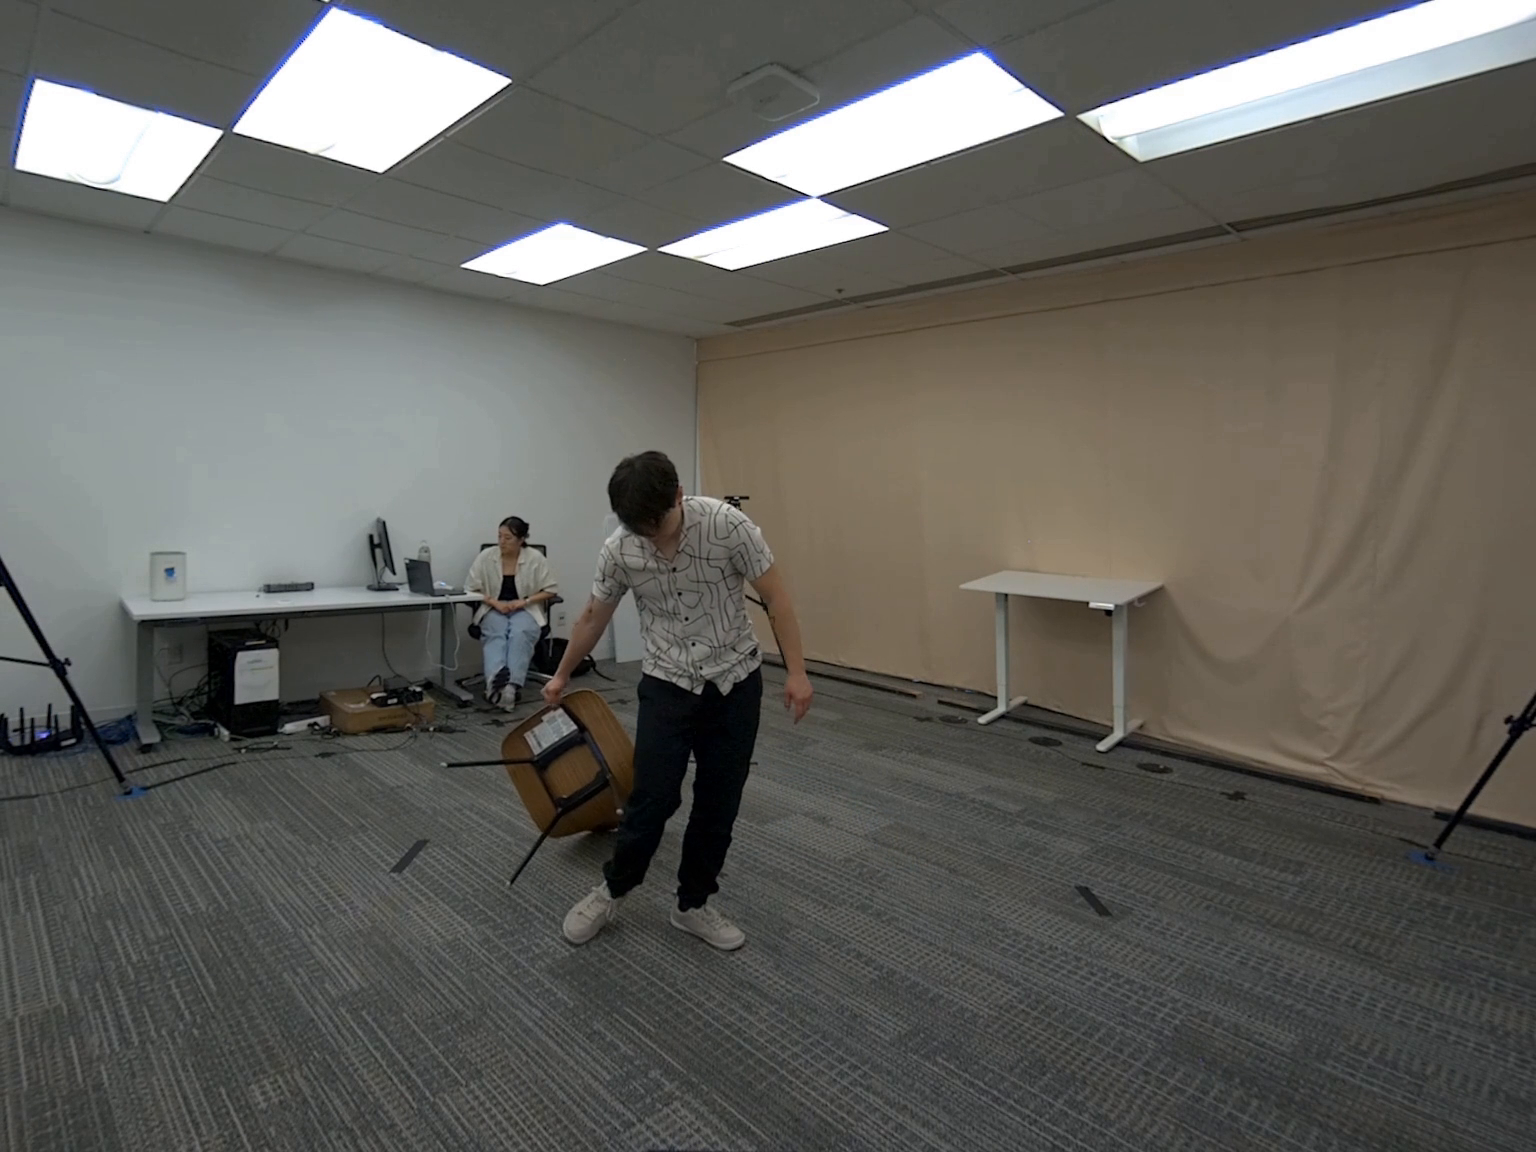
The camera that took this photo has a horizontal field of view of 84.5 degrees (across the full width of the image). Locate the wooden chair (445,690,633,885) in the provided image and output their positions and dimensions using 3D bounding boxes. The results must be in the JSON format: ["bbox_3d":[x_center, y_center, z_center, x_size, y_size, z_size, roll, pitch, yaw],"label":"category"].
[{"bbox_3d":[-0.740,0.732,3.139,0.478,0.531,0.864,-34,-12,2],"label":"wooden chair"}]
